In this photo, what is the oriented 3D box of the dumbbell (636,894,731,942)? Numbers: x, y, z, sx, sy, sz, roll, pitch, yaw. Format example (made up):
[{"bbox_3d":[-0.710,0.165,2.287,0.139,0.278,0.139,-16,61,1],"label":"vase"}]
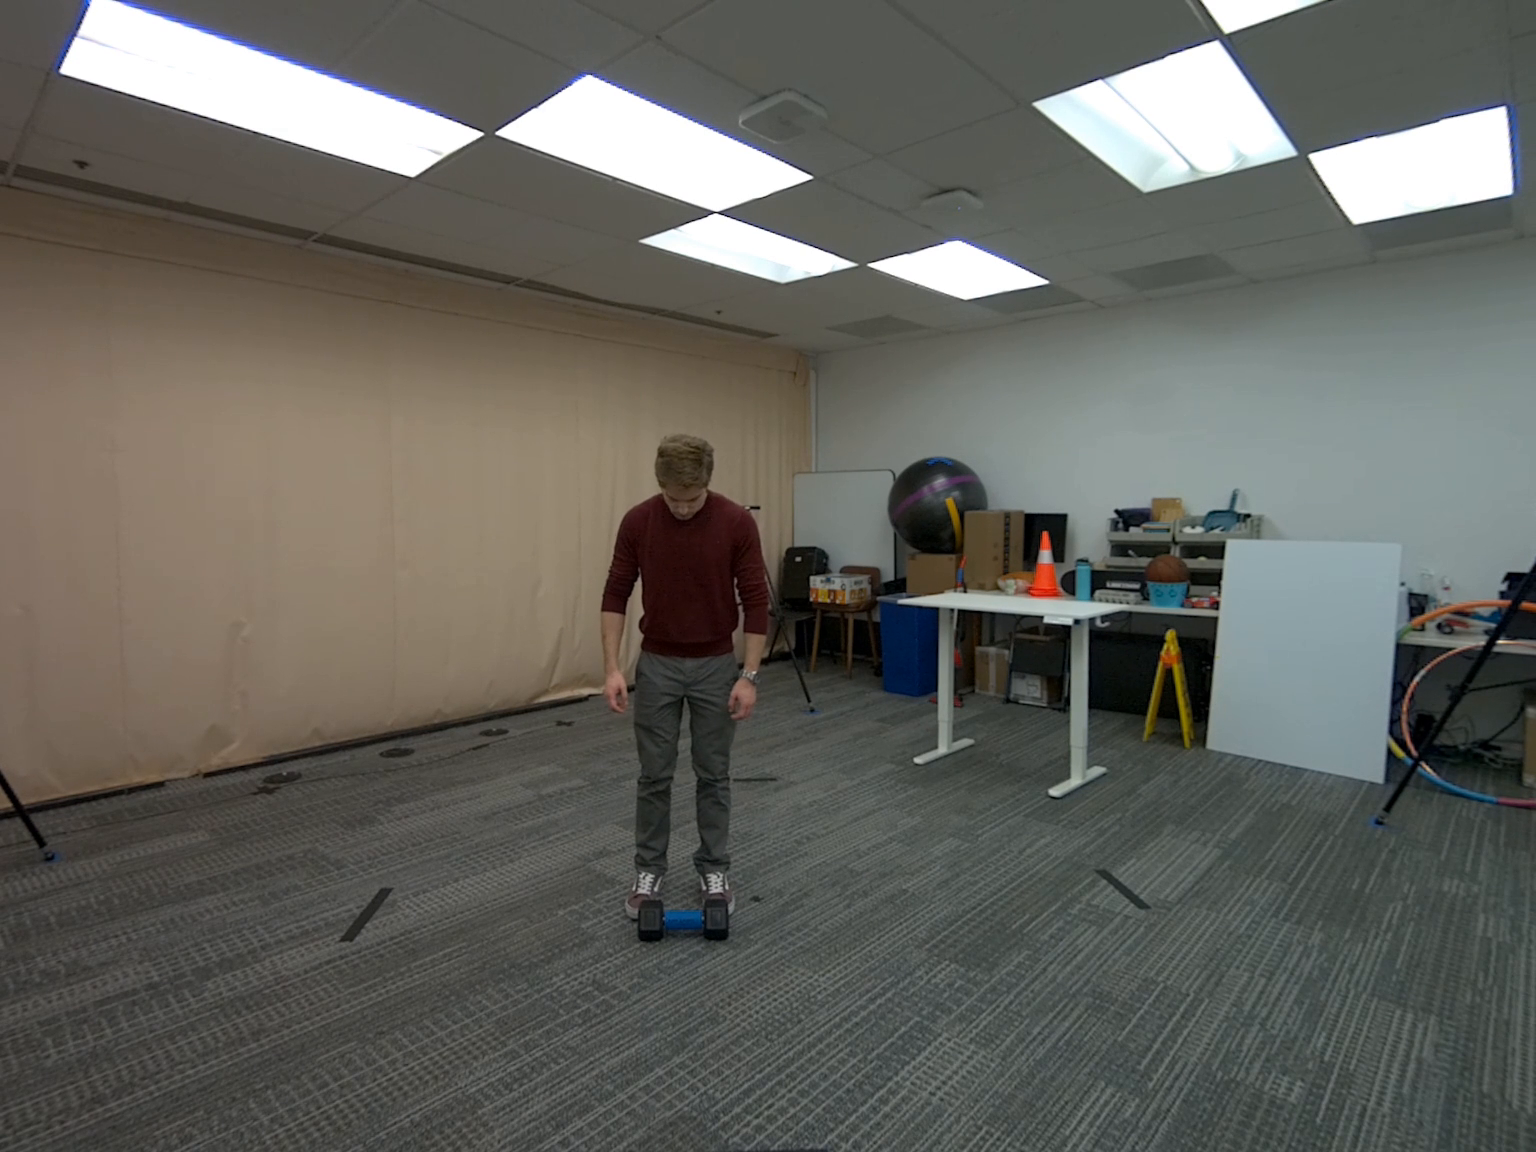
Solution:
[{"bbox_3d":[-0.277,1.118,2.721,0.294,0.124,0.107,-1,-23,1],"label":"dumbbell"}]
